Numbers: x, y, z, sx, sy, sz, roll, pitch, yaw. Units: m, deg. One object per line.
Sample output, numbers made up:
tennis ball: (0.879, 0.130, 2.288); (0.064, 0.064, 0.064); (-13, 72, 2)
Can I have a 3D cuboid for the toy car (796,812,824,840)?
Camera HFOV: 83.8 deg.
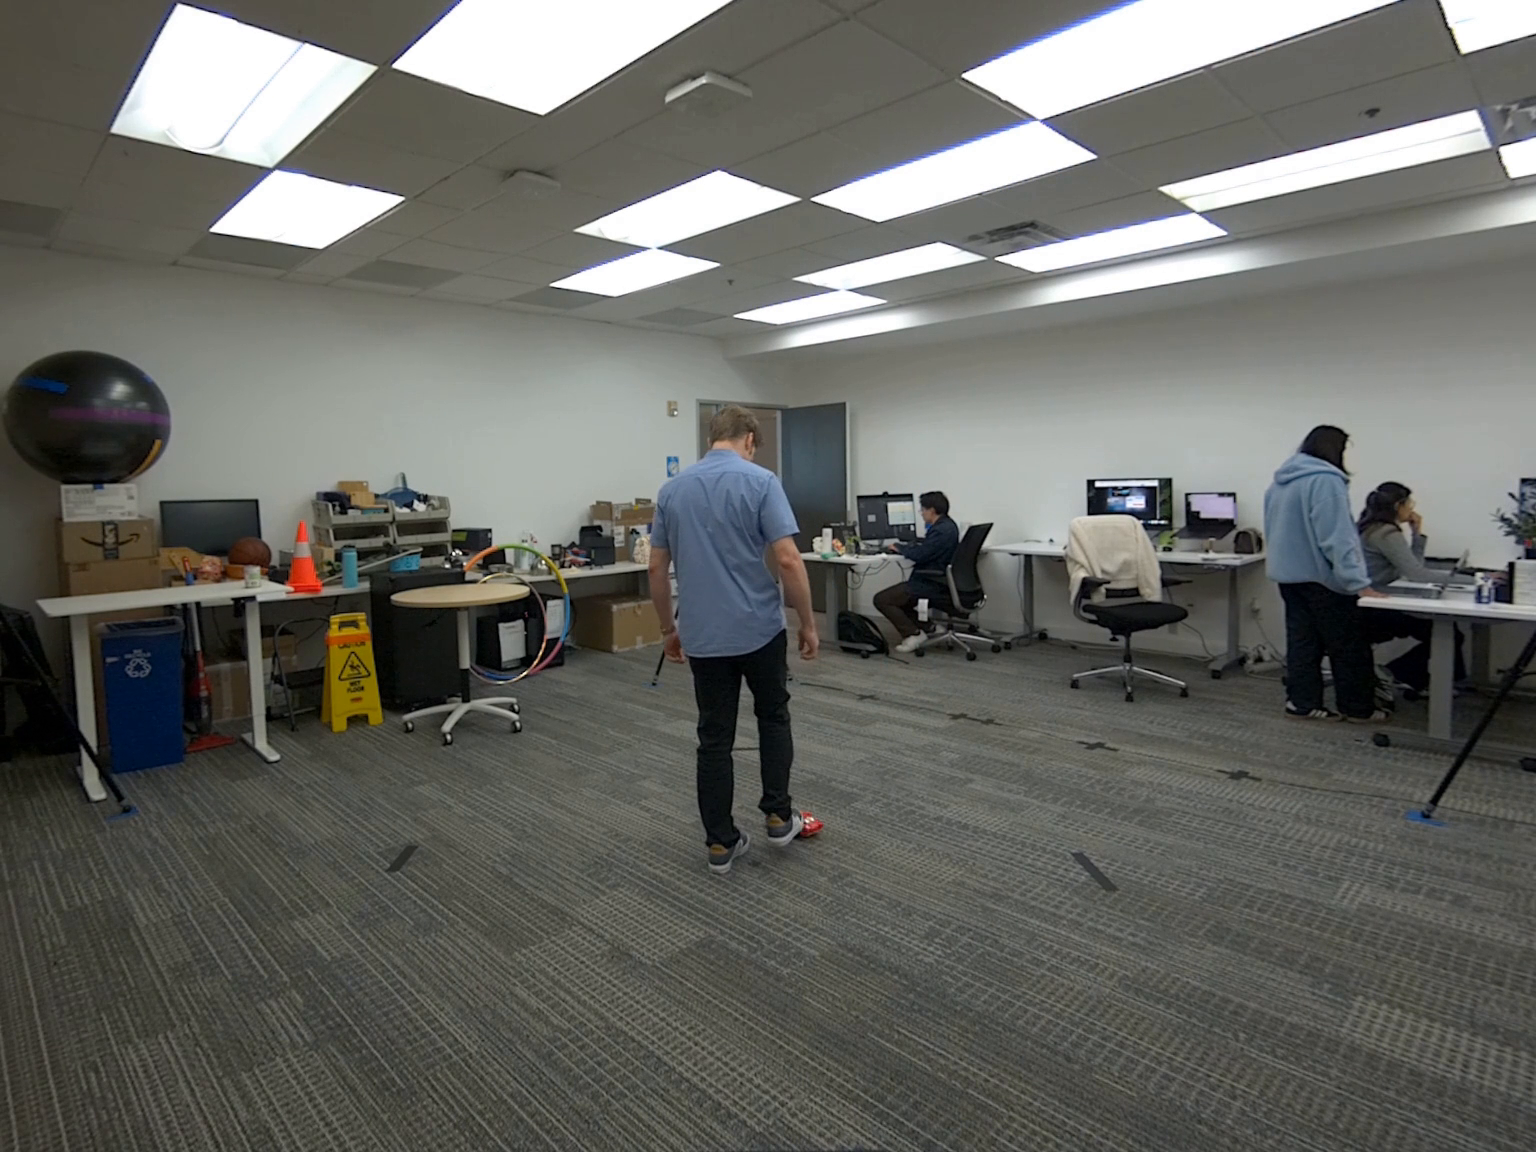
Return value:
toy car: (0.115, 0.980, 3.390); (0.127, 0.083, 0.260); (-4, -3, -40)
